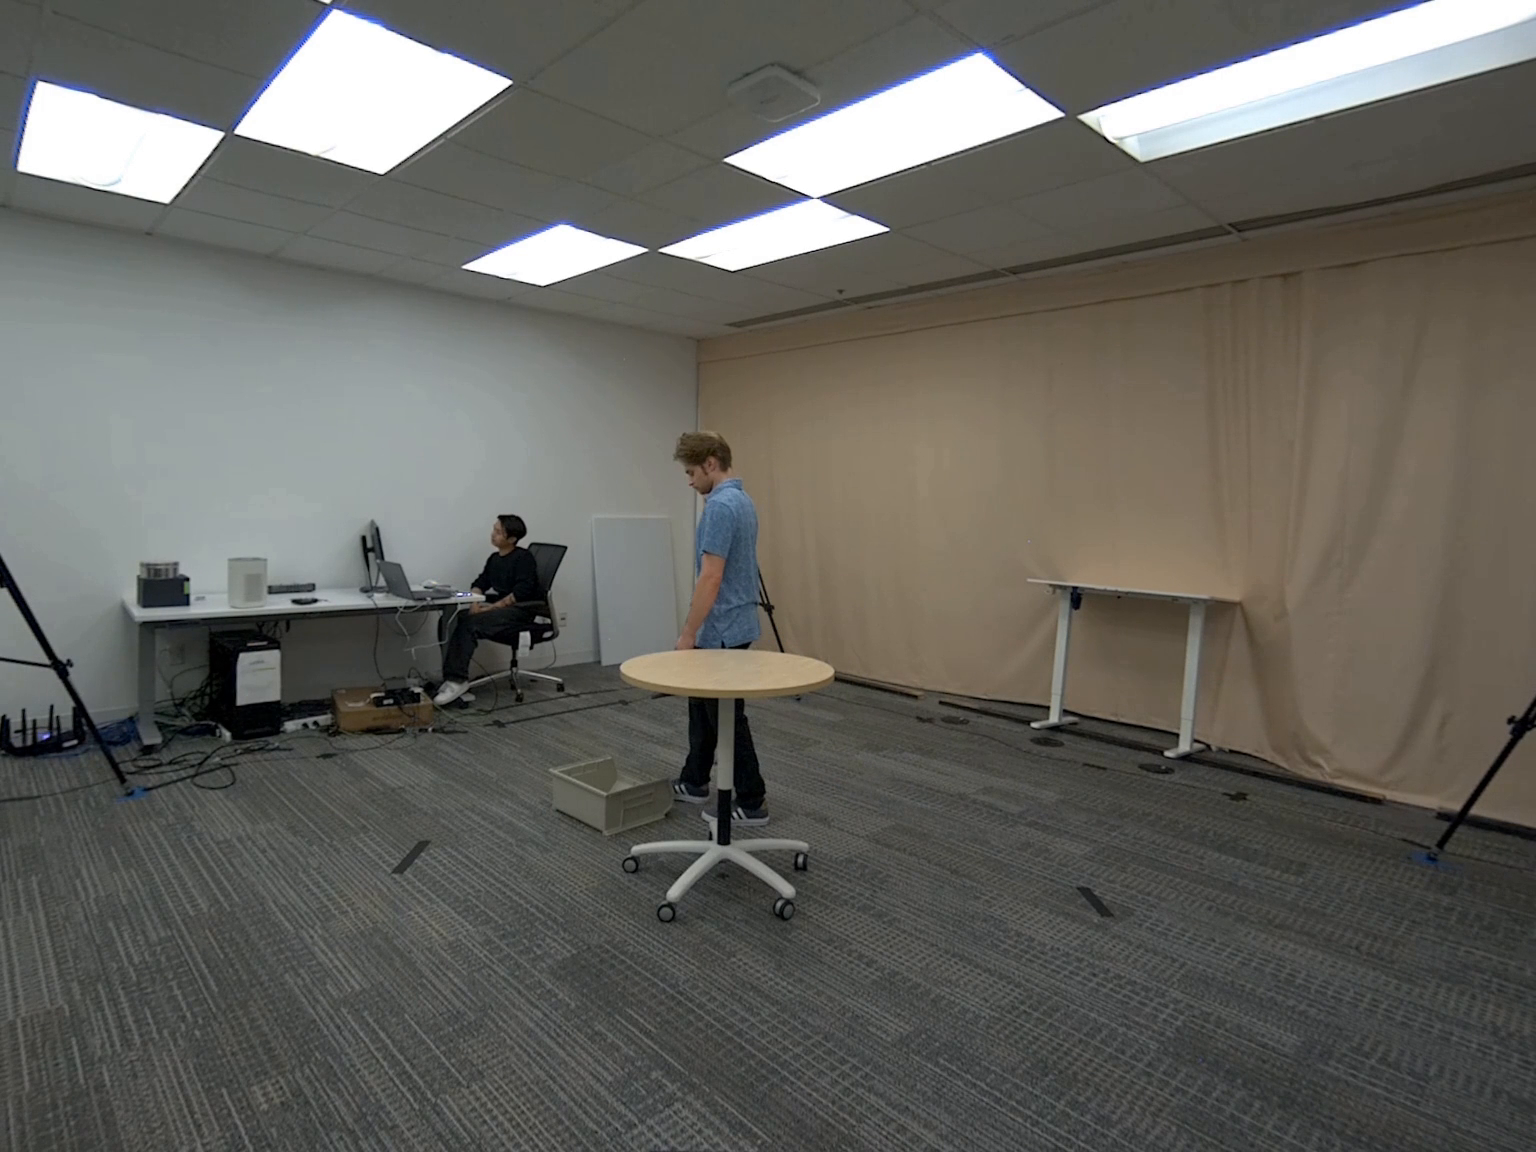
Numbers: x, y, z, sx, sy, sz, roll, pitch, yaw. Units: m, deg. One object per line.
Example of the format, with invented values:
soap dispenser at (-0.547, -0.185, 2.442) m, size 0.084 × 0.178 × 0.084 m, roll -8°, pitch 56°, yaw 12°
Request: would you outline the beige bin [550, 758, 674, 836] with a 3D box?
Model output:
beige bin at (-0.698, 0.954, 3.703) m, size 0.433 × 0.188 × 0.369 m, roll 7°, pitch 8°, yaw 43°
